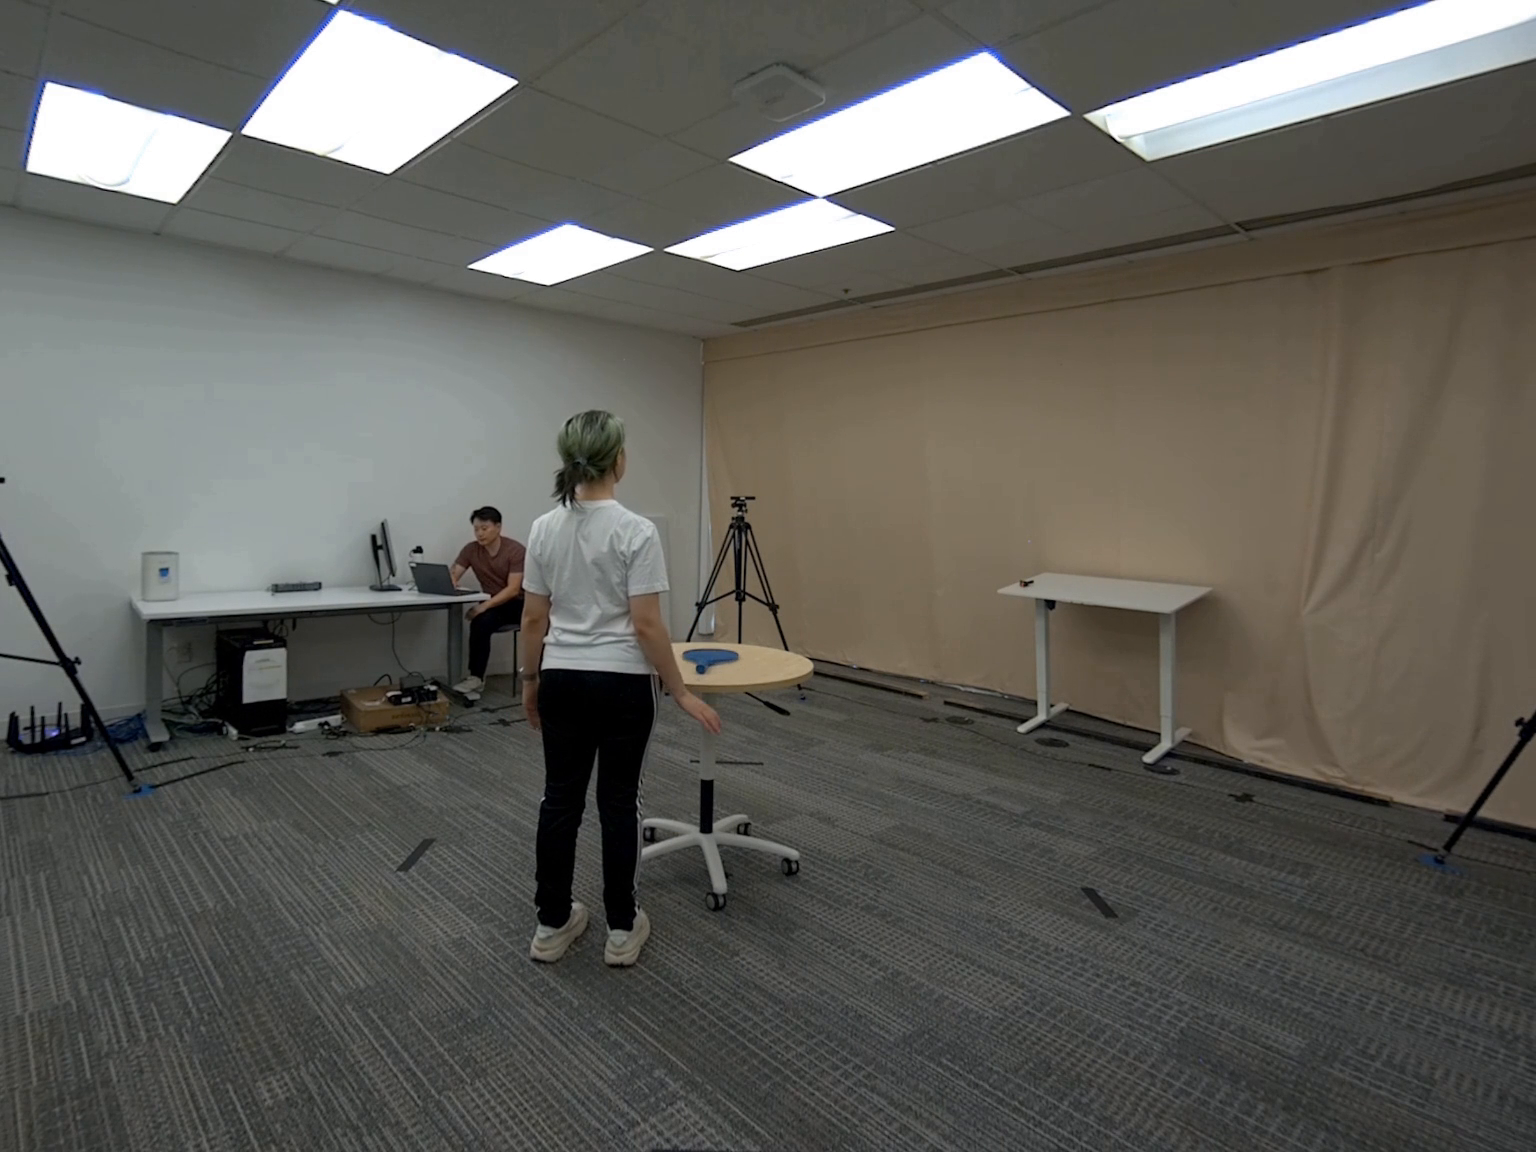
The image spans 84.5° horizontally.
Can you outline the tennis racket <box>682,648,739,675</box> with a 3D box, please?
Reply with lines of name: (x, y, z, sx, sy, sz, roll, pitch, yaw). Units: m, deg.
tennis racket: (-0.238, 0.310, 3.101, 0.215, 0.032, 0.431, 2, 4, 6)
